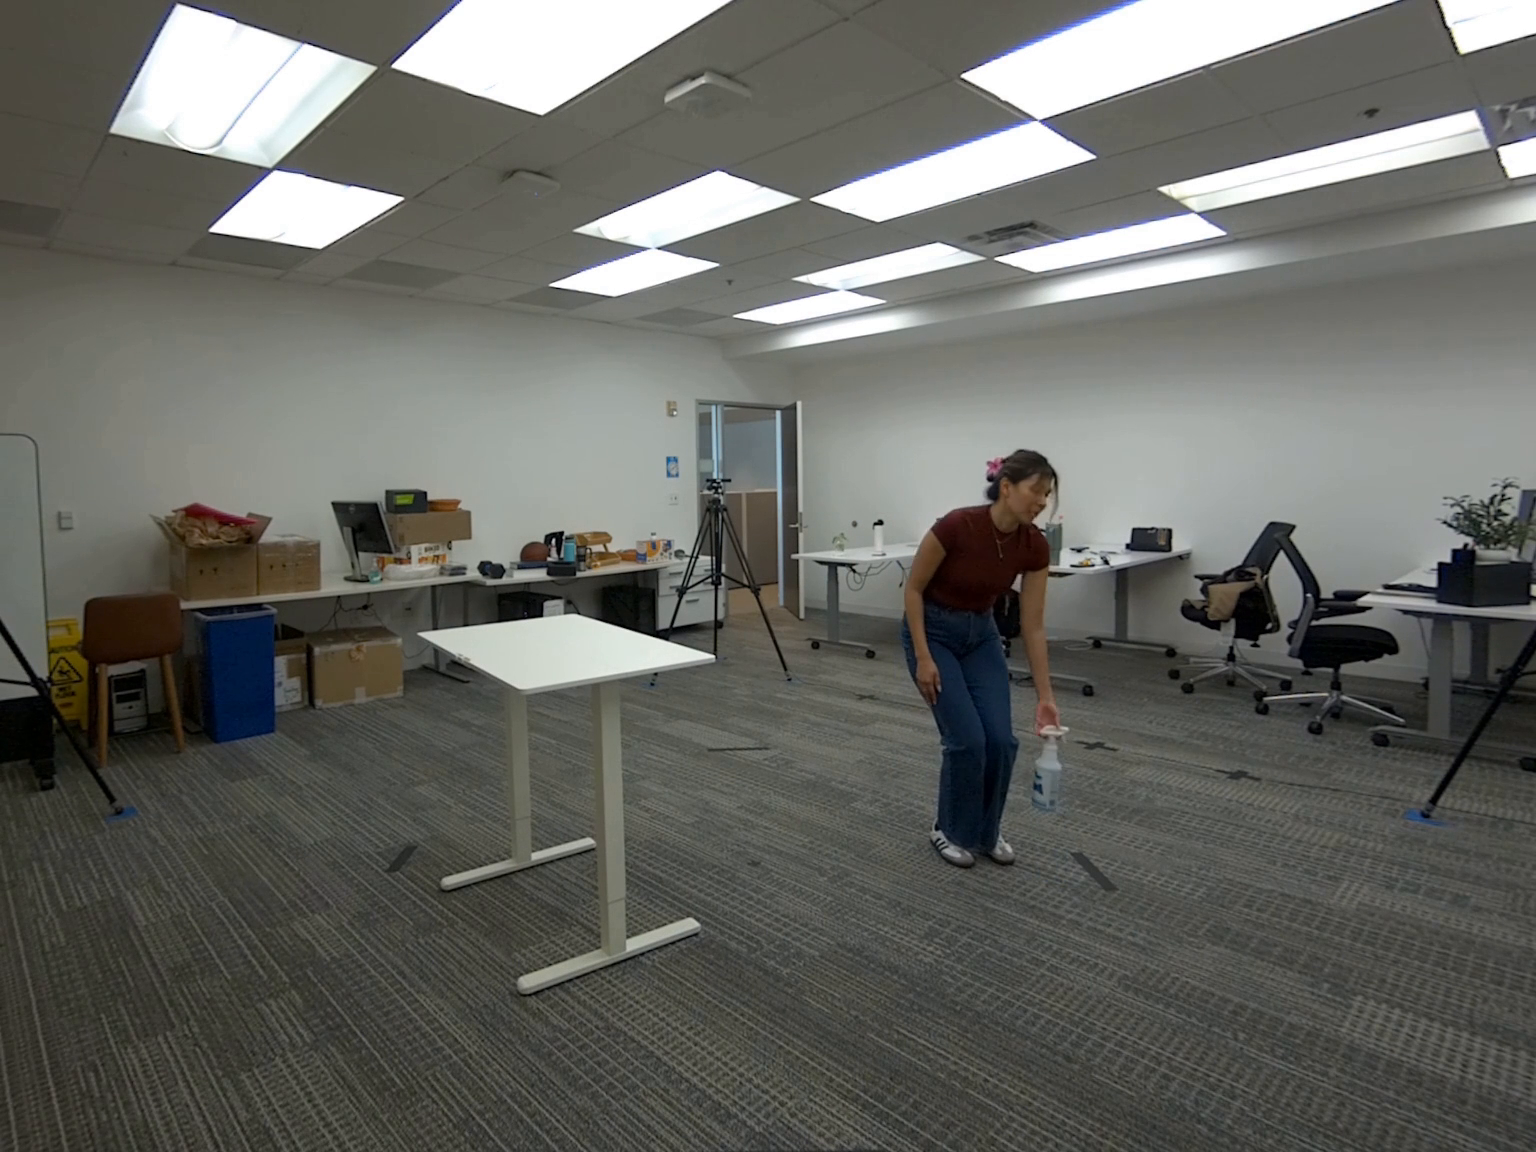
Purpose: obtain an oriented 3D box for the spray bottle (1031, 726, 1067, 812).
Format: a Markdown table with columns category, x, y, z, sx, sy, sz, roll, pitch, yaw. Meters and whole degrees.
| category | x | y | z | sx | sy | sz | roll | pitch | yaw |
| --- | --- | --- | --- | --- | --- | --- | --- | --- | --- |
| spray bottle | 0.982 | 0.666 | 2.993 | 0.093 | 0.295 | 0.085 | 12 | 11 | 41 |
